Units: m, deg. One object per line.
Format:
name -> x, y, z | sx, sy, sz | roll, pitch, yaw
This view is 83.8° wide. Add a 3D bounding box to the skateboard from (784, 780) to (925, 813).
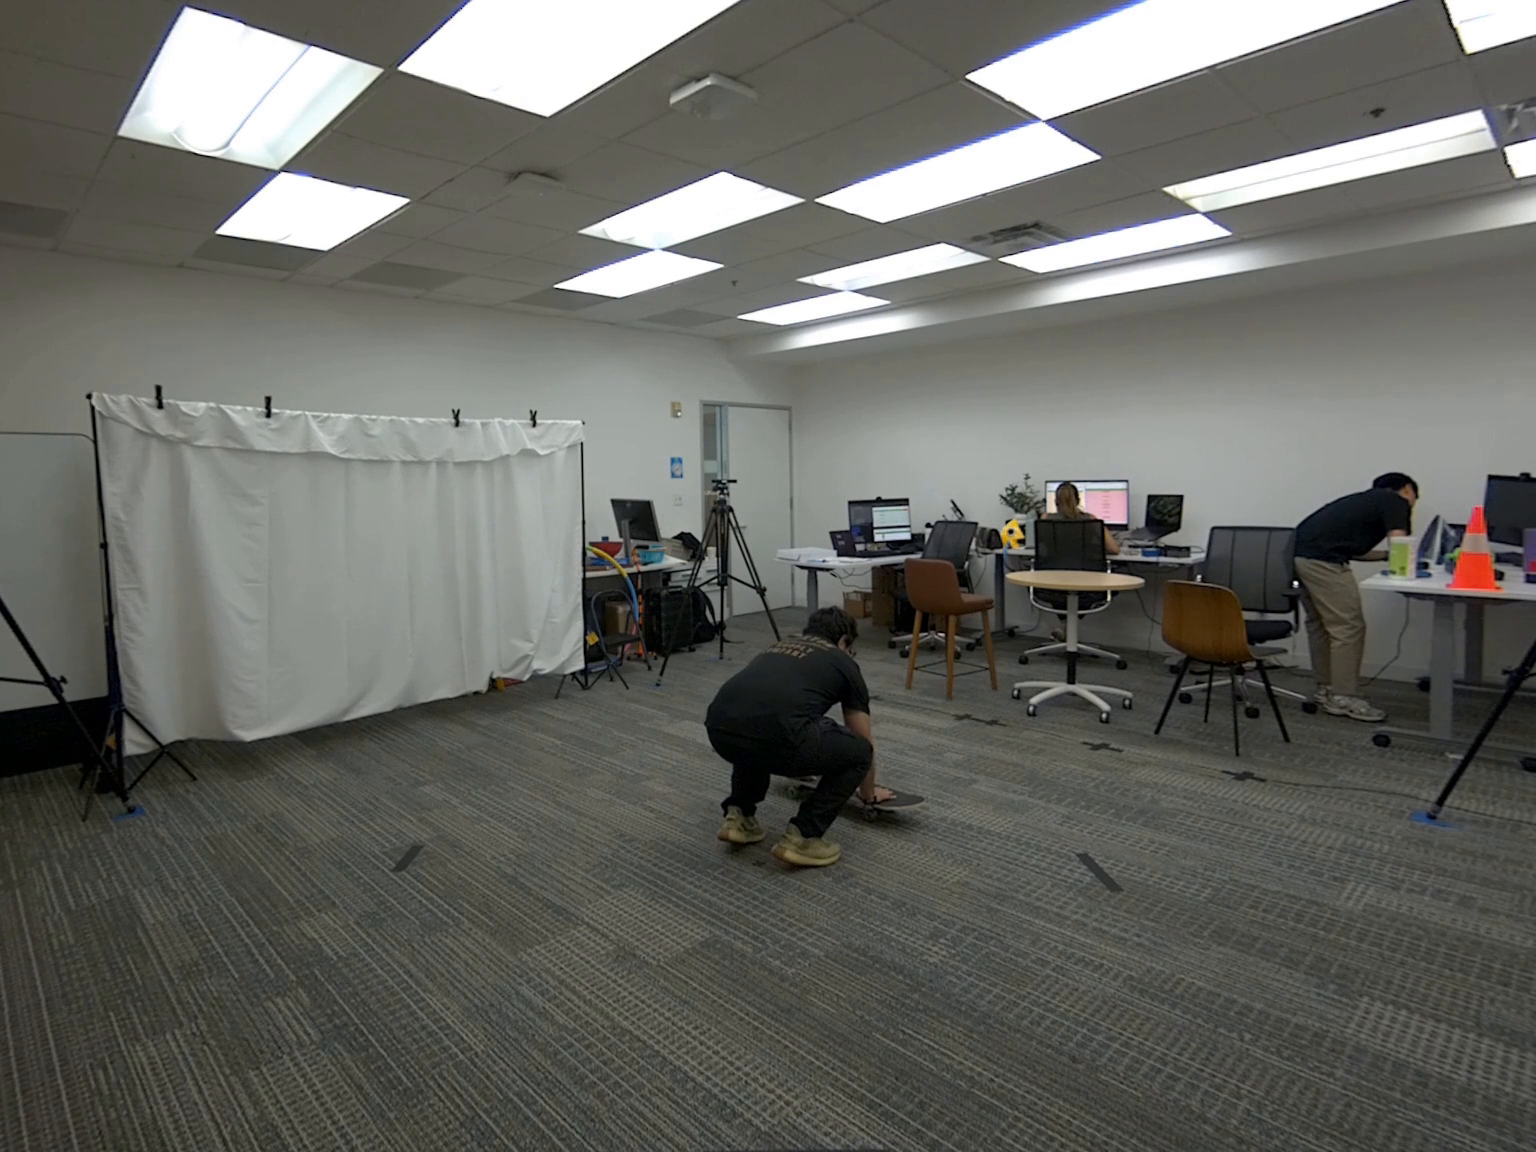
skateboard -> 0.309, 0.922, 3.662 | 0.810, 0.110, 0.188 | 5, 7, 43
